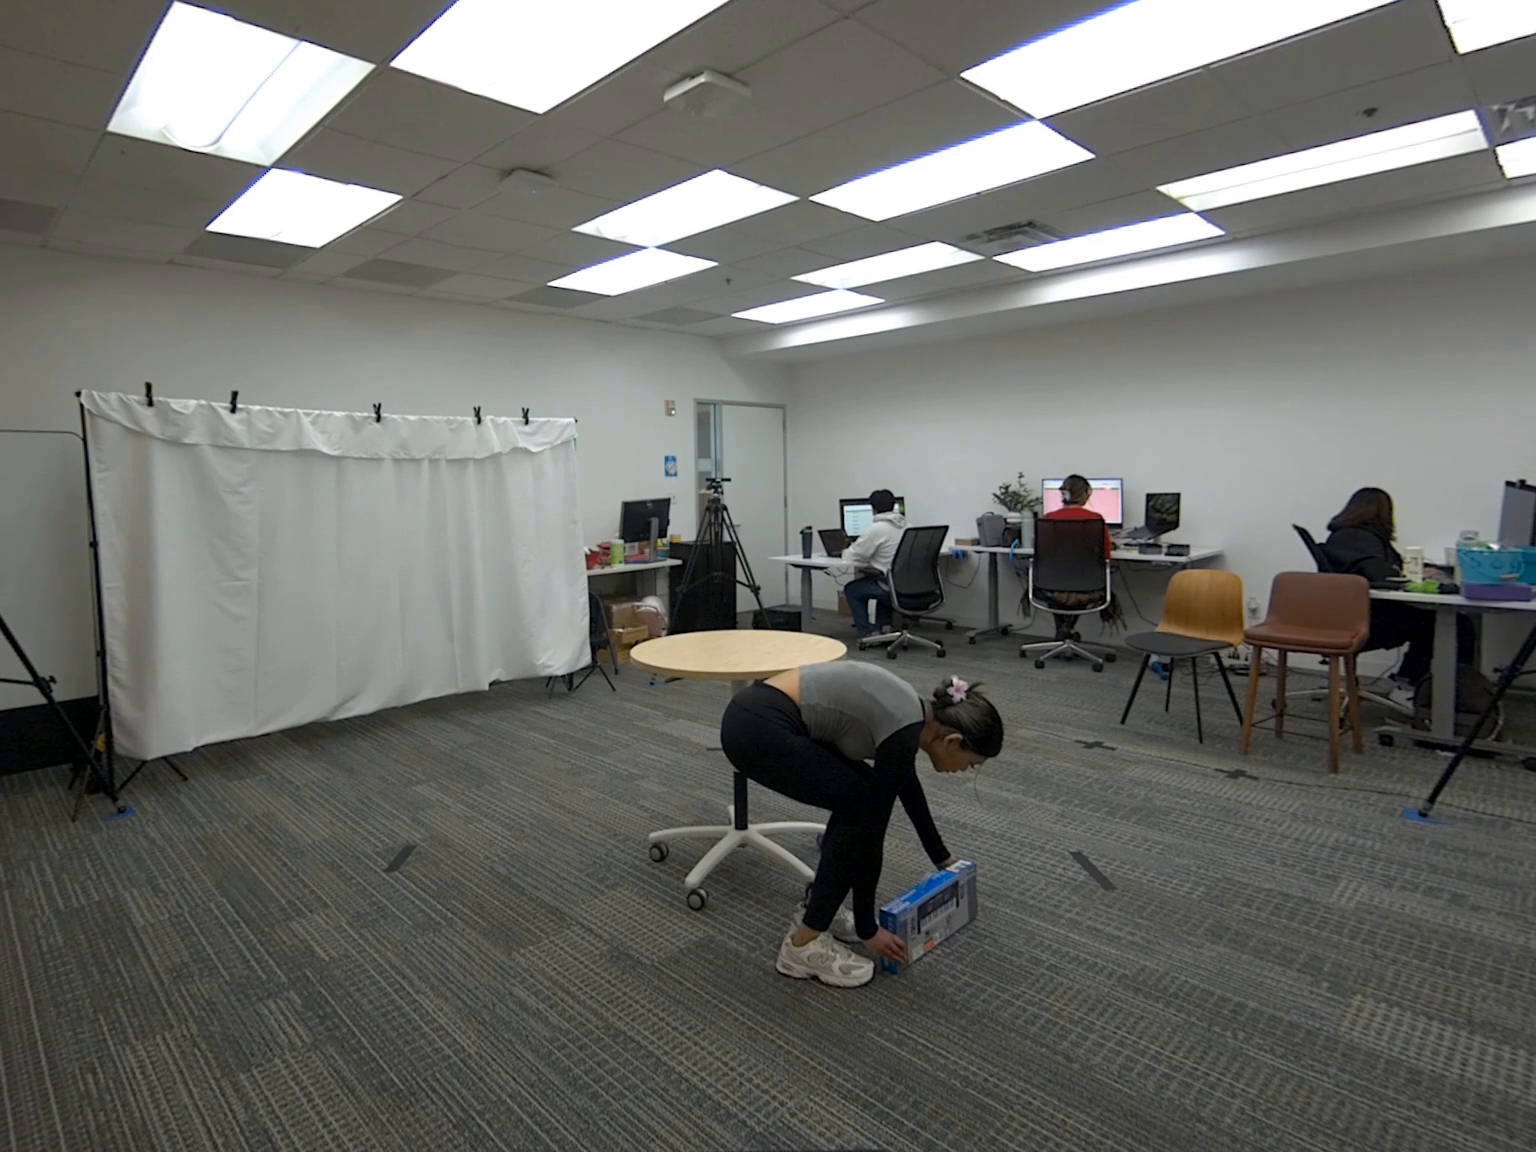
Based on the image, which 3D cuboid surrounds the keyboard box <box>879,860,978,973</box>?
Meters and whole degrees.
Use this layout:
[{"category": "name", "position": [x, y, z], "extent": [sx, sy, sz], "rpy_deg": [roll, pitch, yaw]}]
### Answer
[{"category": "keyboard box", "position": [0.492, 1.011, 2.557], "extent": [0.426, 0.175, 0.061], "rpy_deg": [-8, 7, -44]}]
